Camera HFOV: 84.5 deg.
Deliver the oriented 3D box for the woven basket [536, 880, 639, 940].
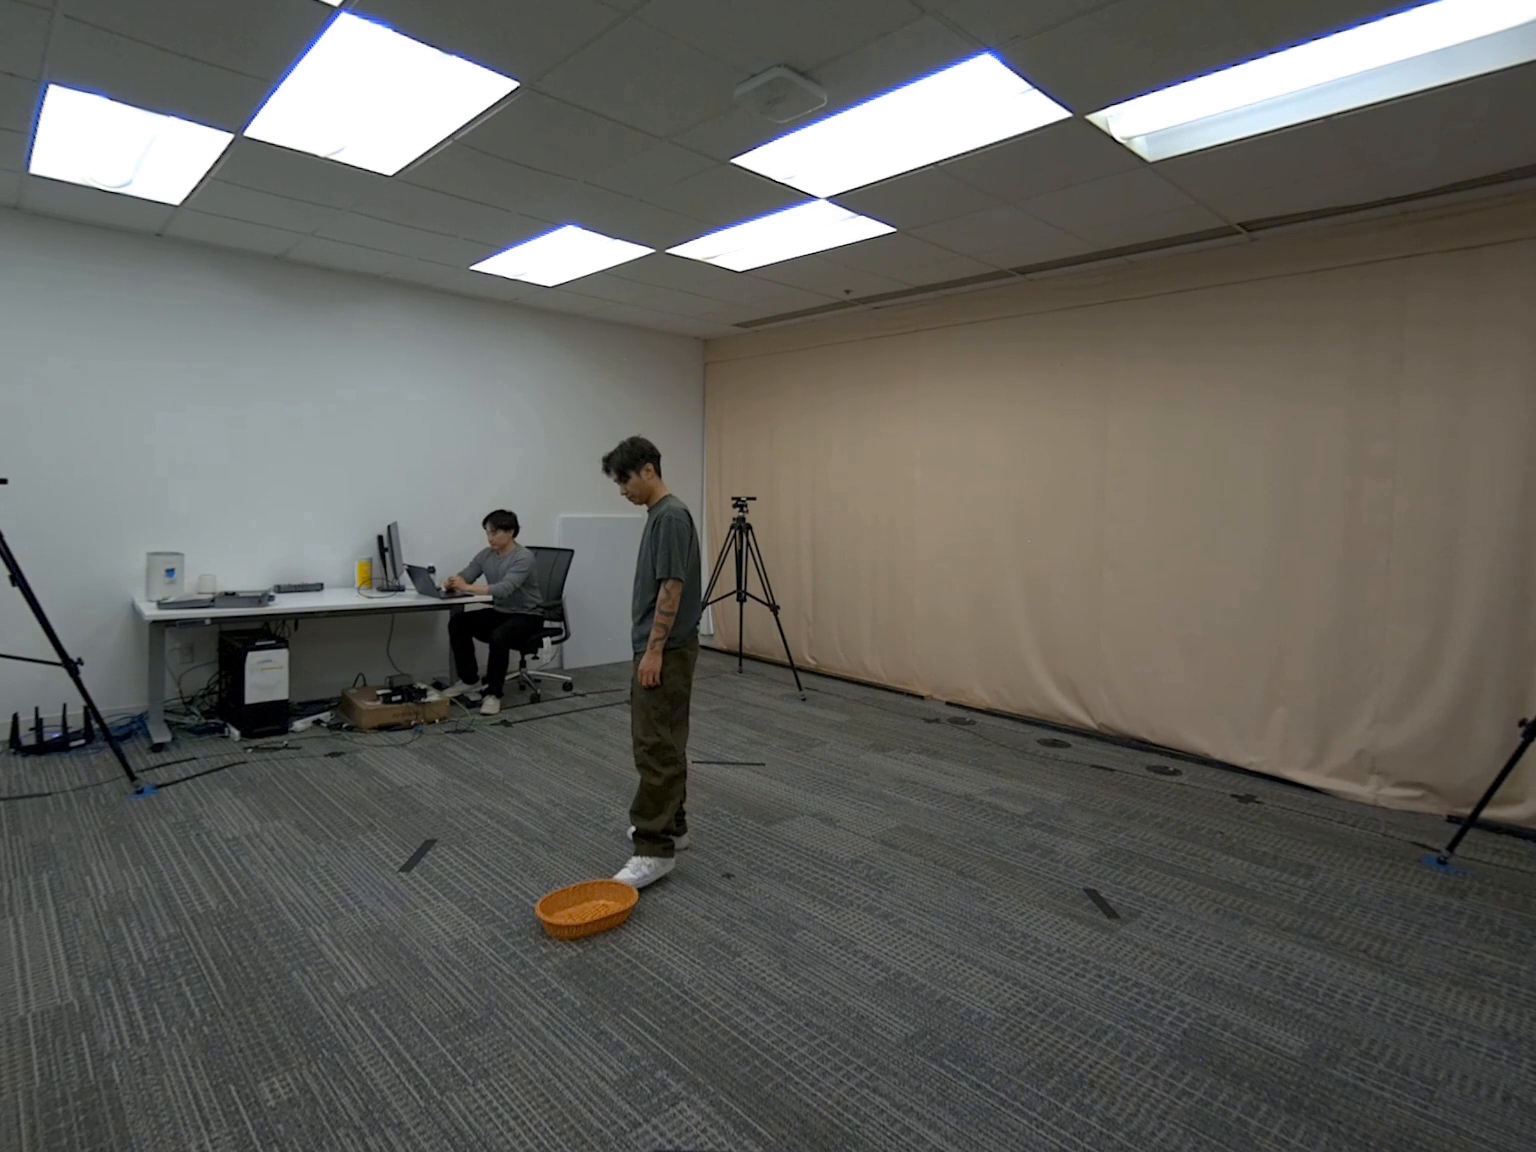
[{"bbox_3d":[-0.599,1.091,2.750,0.343,0.073,0.259,-2,6,-37],"label":"woven basket"}]
